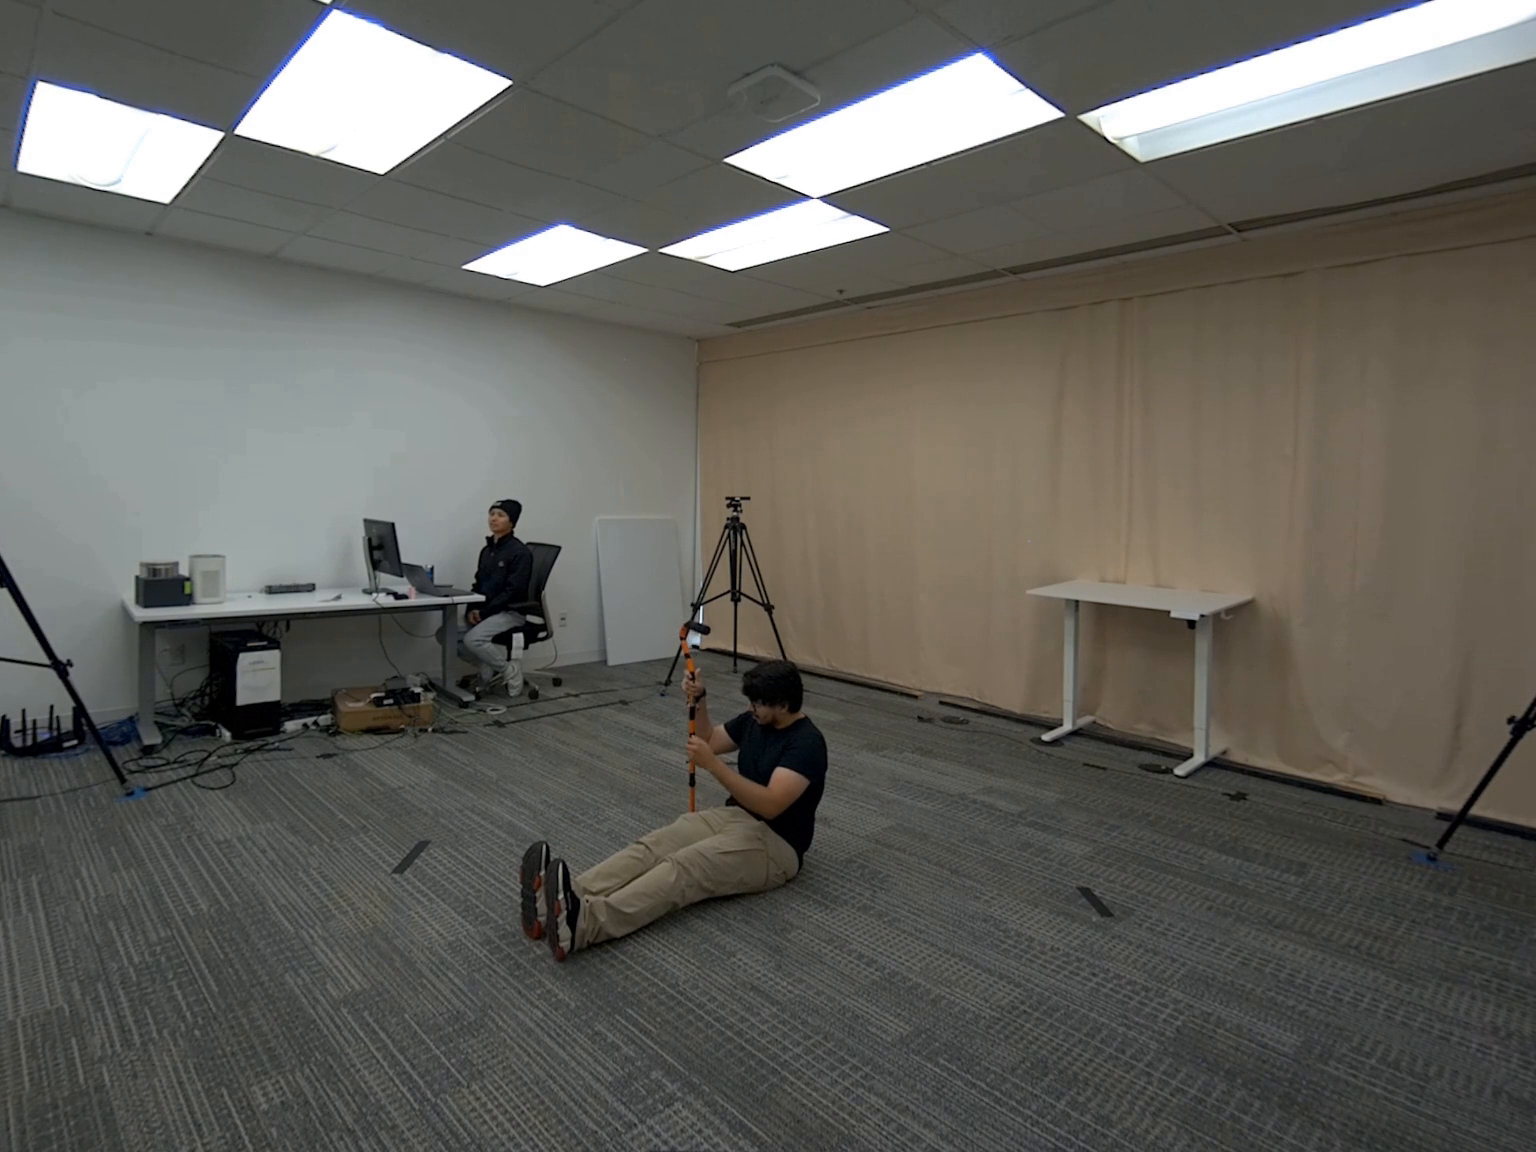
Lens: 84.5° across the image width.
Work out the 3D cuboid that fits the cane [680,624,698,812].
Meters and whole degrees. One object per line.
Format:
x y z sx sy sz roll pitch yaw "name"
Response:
-0.290 0.619 3.289 0.148 0.900 0.212 -6 14 -35 "cane"
